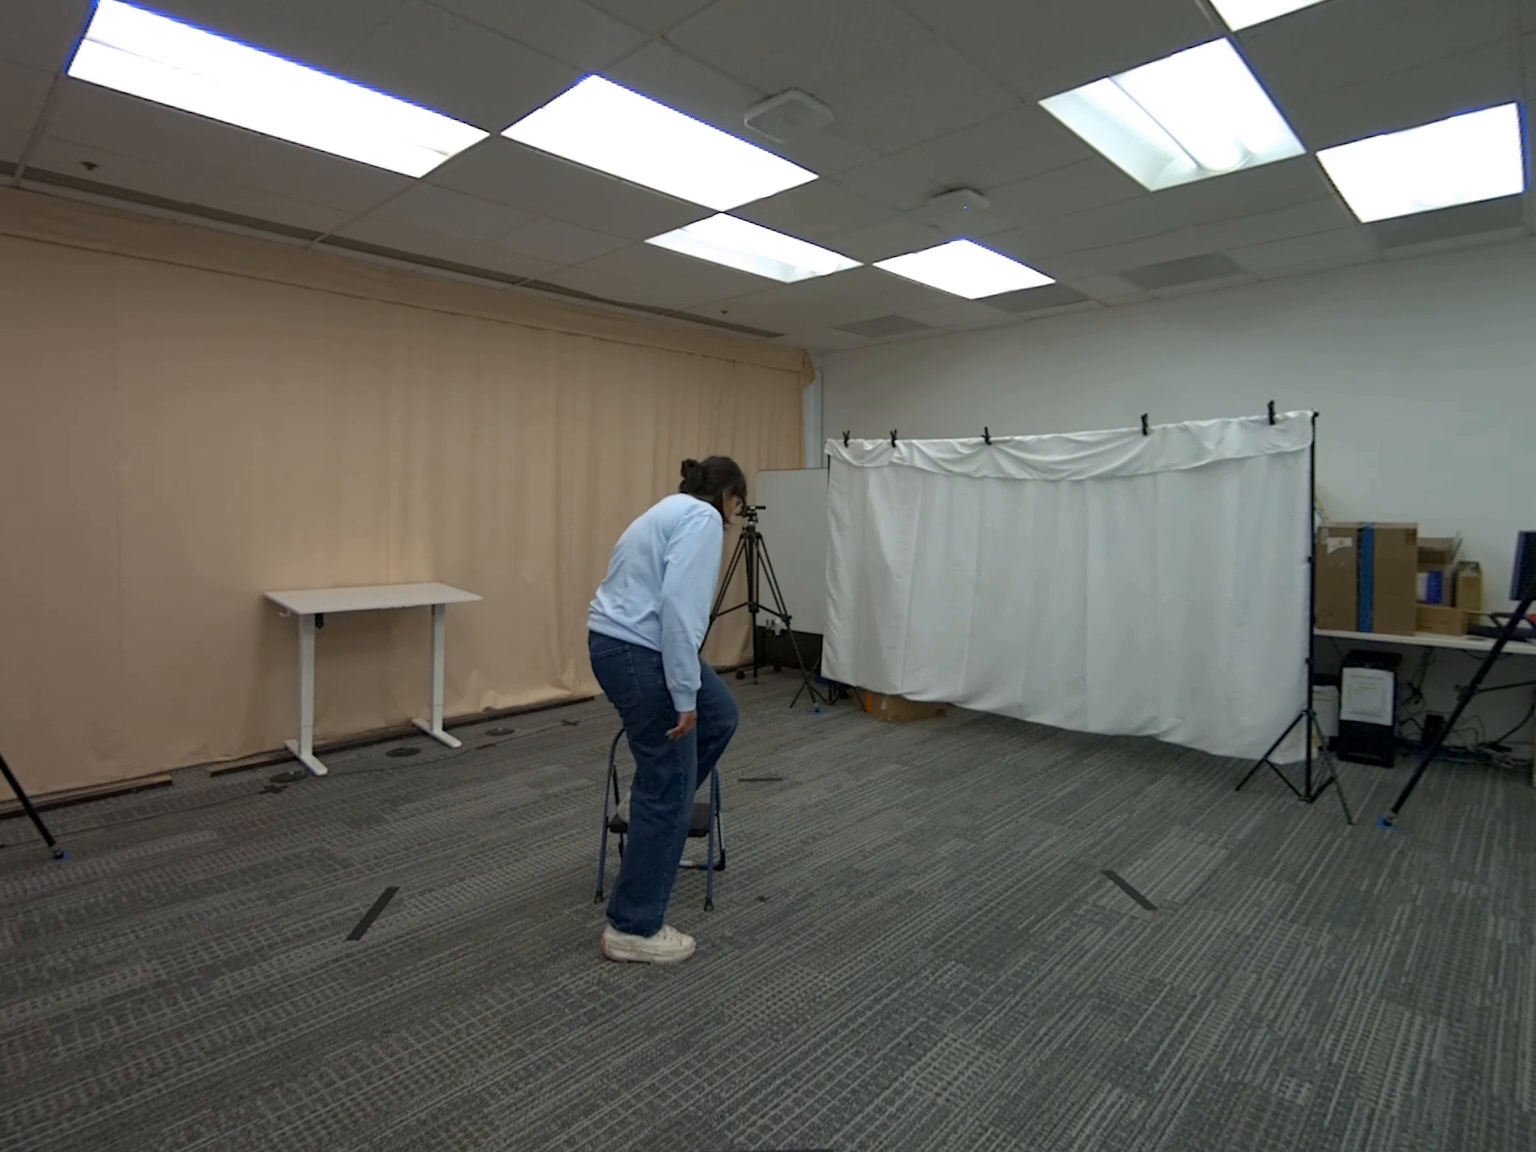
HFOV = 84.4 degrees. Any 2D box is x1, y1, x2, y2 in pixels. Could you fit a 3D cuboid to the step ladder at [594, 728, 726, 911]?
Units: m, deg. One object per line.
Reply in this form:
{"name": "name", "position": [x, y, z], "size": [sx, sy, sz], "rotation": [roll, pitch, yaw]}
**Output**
{"name": "step ladder", "position": [-0.388, 0.838, 3.089], "size": [0.435, 0.605, 0.347], "rotation": [0, 3, 8]}
